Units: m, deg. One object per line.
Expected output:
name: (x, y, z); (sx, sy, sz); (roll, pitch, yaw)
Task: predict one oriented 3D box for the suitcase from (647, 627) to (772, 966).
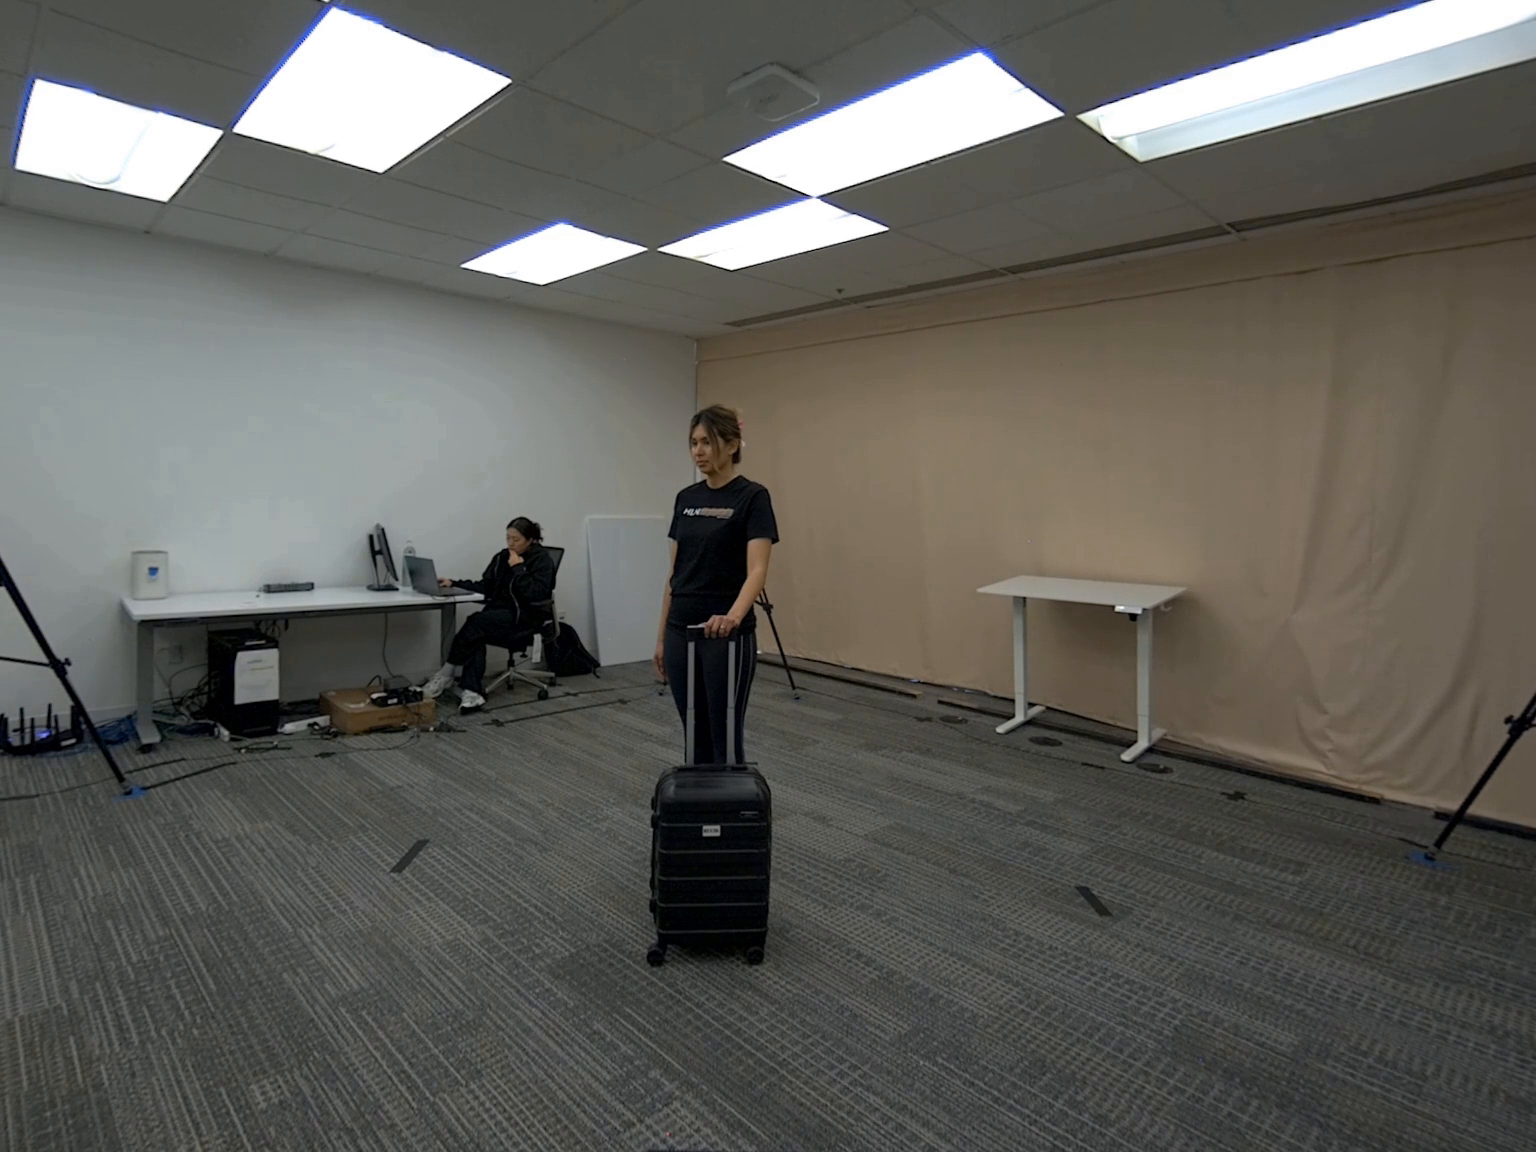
suitcase: (-0.176, 0.676, 2.587); (0.383, 0.974, 0.259); (1, 7, -4)
